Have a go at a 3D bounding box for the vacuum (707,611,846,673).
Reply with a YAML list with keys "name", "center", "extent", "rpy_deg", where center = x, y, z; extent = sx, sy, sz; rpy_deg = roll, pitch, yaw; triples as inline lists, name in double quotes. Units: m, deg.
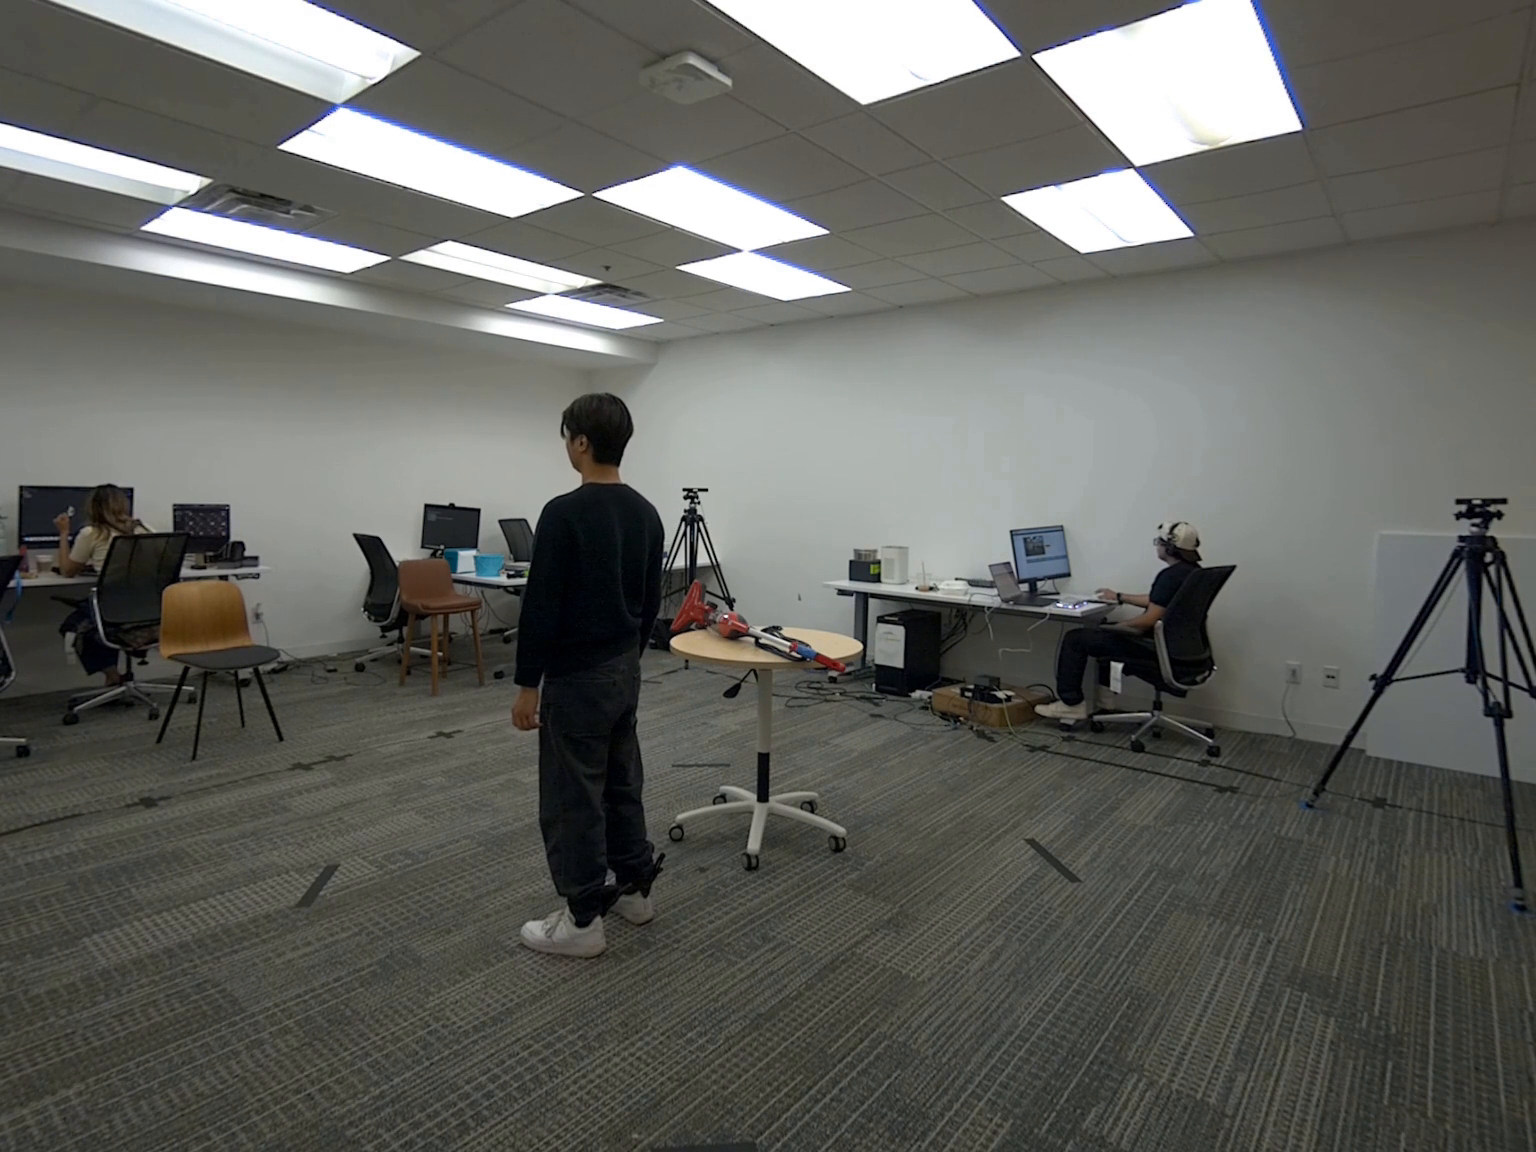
- name: "vacuum"
  center: [-0.048, 0.236, 3.277]
  extent: [0.139, 0.253, 1.085]
  rpy_deg: [35, -10, -31]
